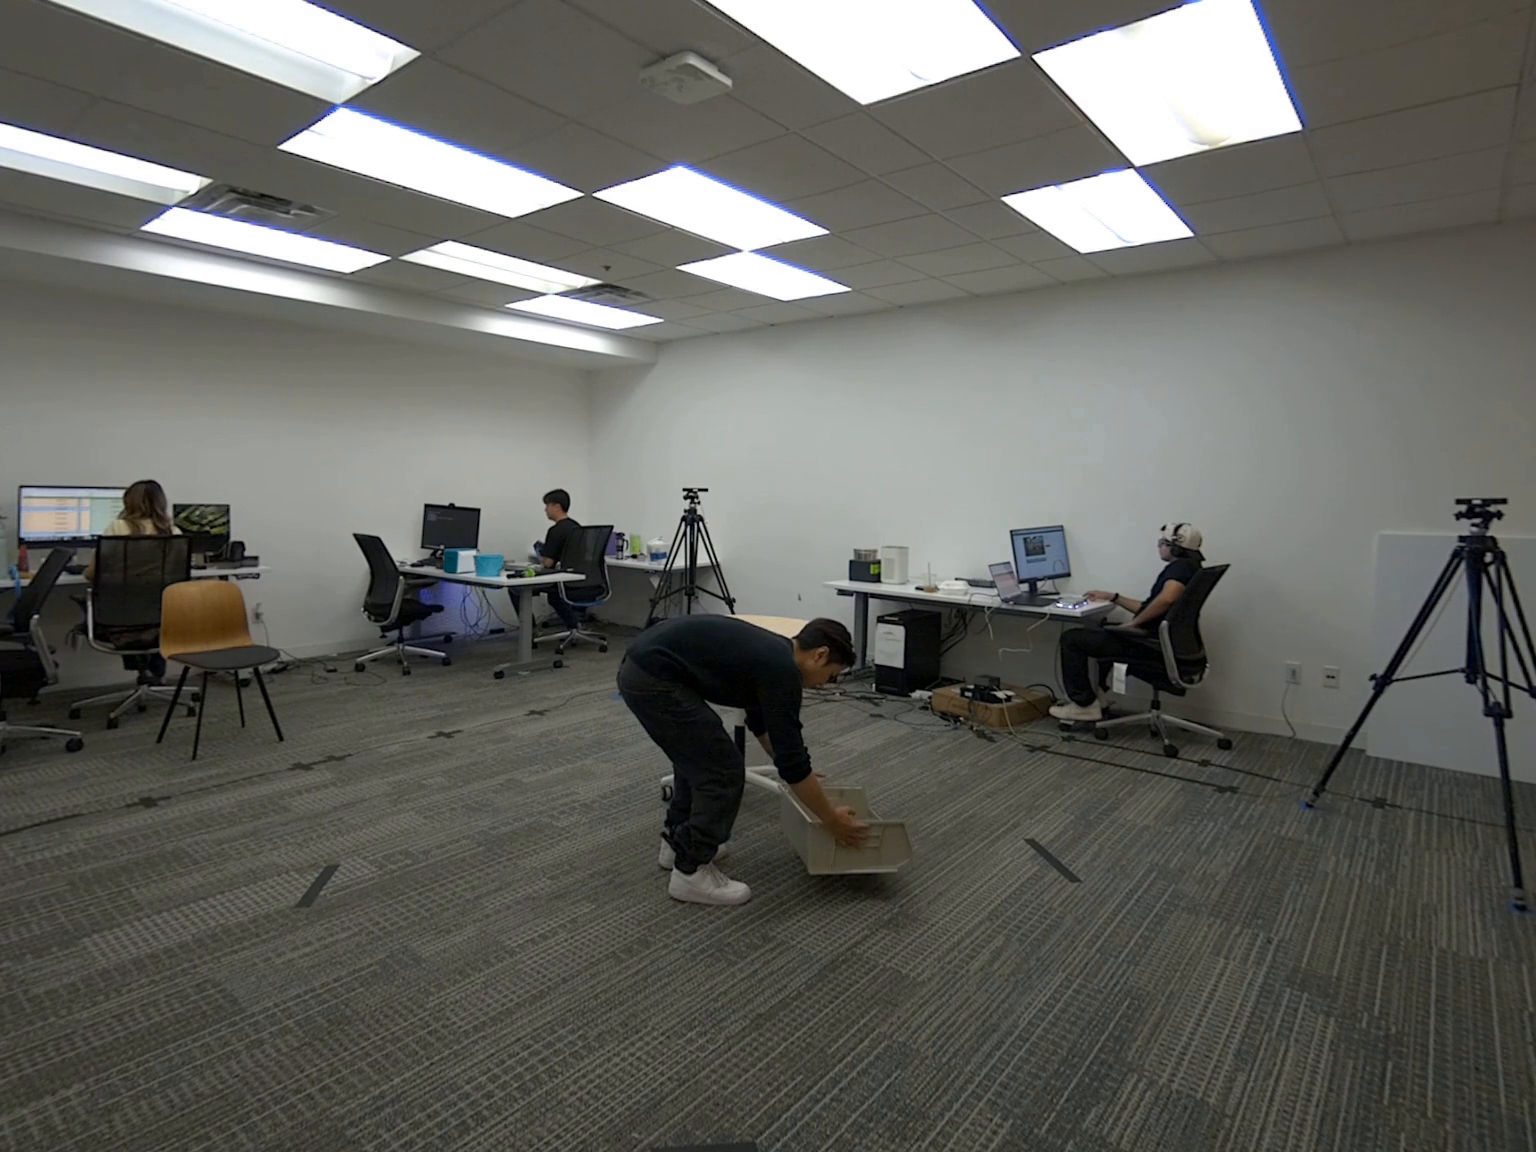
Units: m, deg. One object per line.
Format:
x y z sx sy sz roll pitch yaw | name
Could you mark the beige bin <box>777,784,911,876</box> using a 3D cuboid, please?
0.252 0.913 3.082 0.373 0.188 0.428 2 3 -12 | beige bin
